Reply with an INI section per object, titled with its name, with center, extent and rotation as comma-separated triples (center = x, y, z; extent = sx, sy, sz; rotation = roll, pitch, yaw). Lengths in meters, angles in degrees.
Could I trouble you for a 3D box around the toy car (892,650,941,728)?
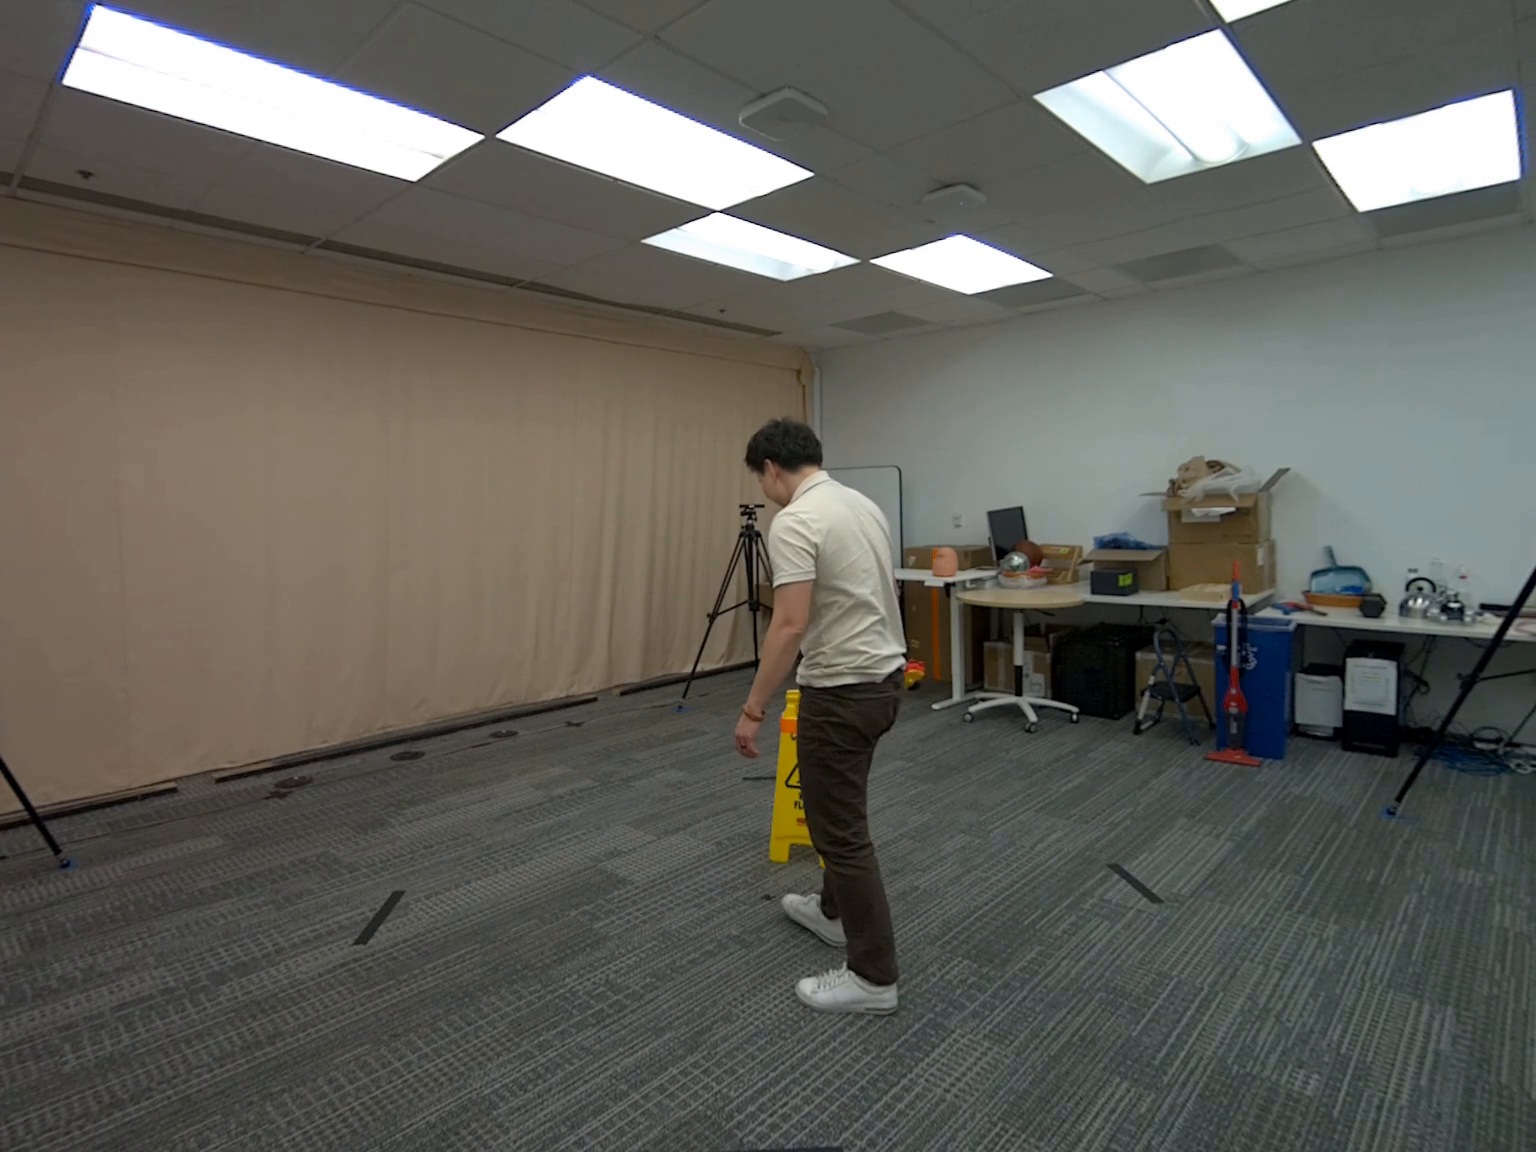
[toy car]
center = 0.412, 0.363, 2.717
extent = 0.126, 0.255, 0.086
rotation = 14, 31, -39
